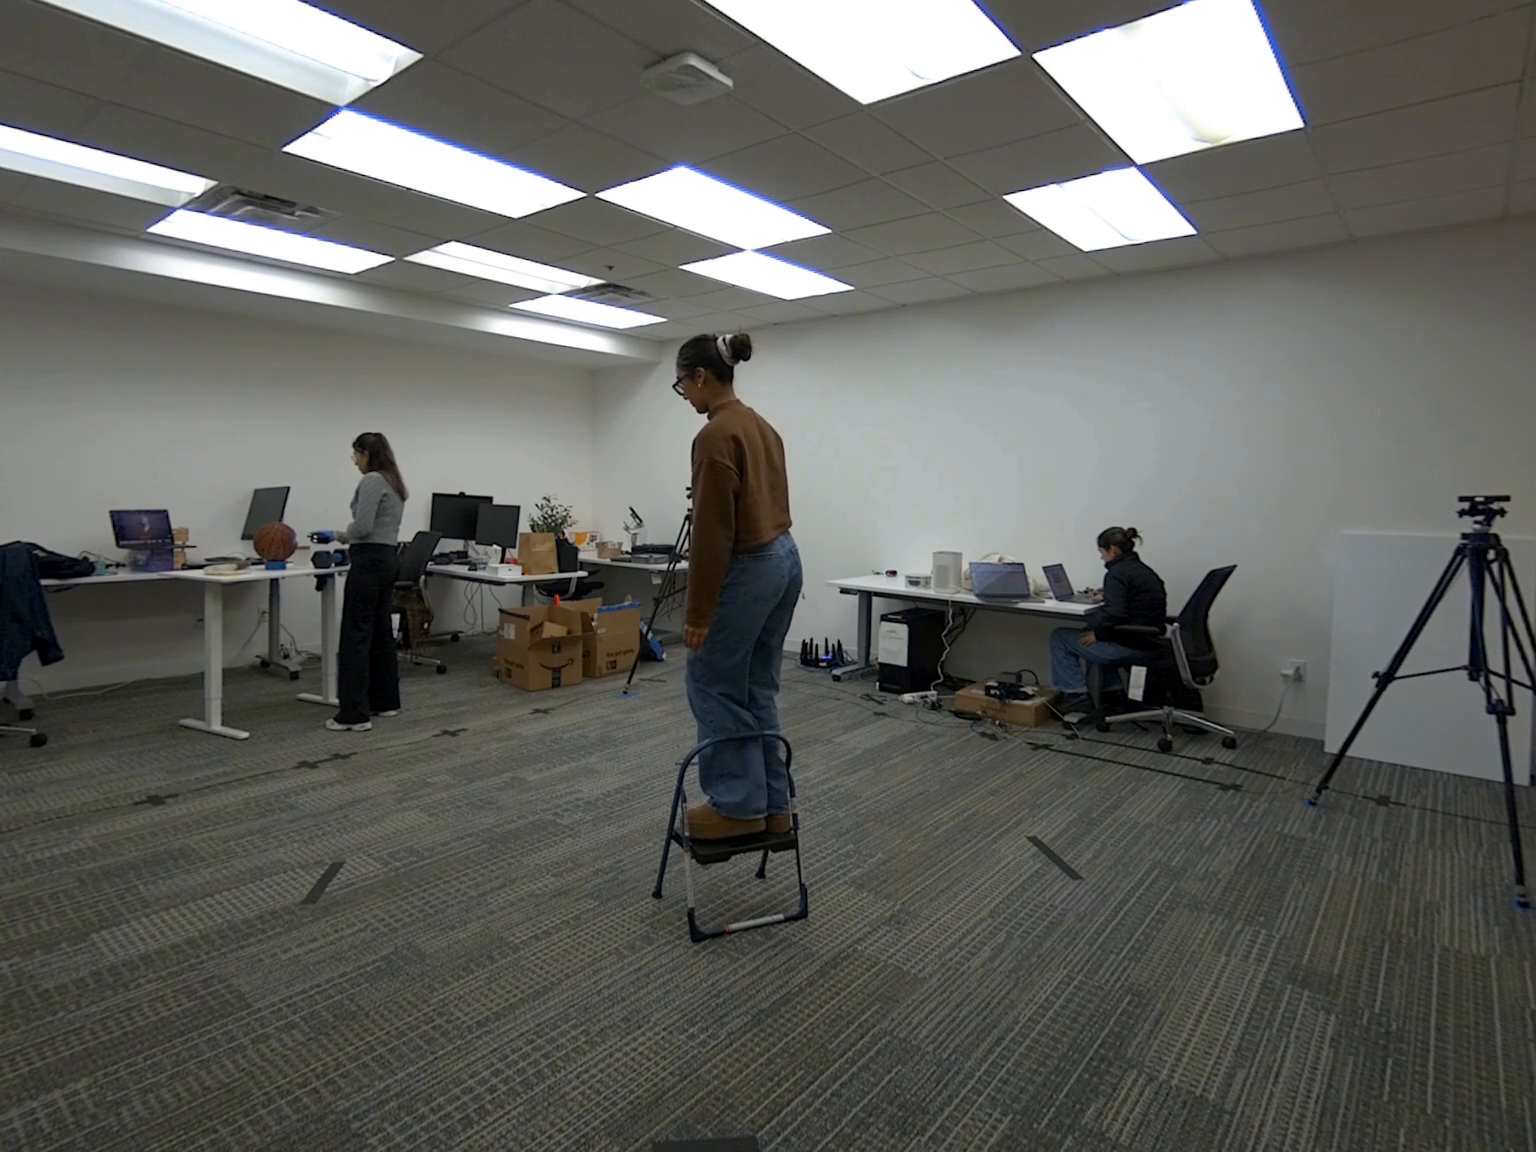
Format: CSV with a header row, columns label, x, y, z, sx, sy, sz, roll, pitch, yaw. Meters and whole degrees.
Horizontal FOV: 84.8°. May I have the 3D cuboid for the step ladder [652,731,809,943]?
label,x,y,z,sx,sy,sz,roll,pitch,yaw
step ladder,-0.133,0.797,2.814,0.420,0.604,0.359,-1,4,-27
